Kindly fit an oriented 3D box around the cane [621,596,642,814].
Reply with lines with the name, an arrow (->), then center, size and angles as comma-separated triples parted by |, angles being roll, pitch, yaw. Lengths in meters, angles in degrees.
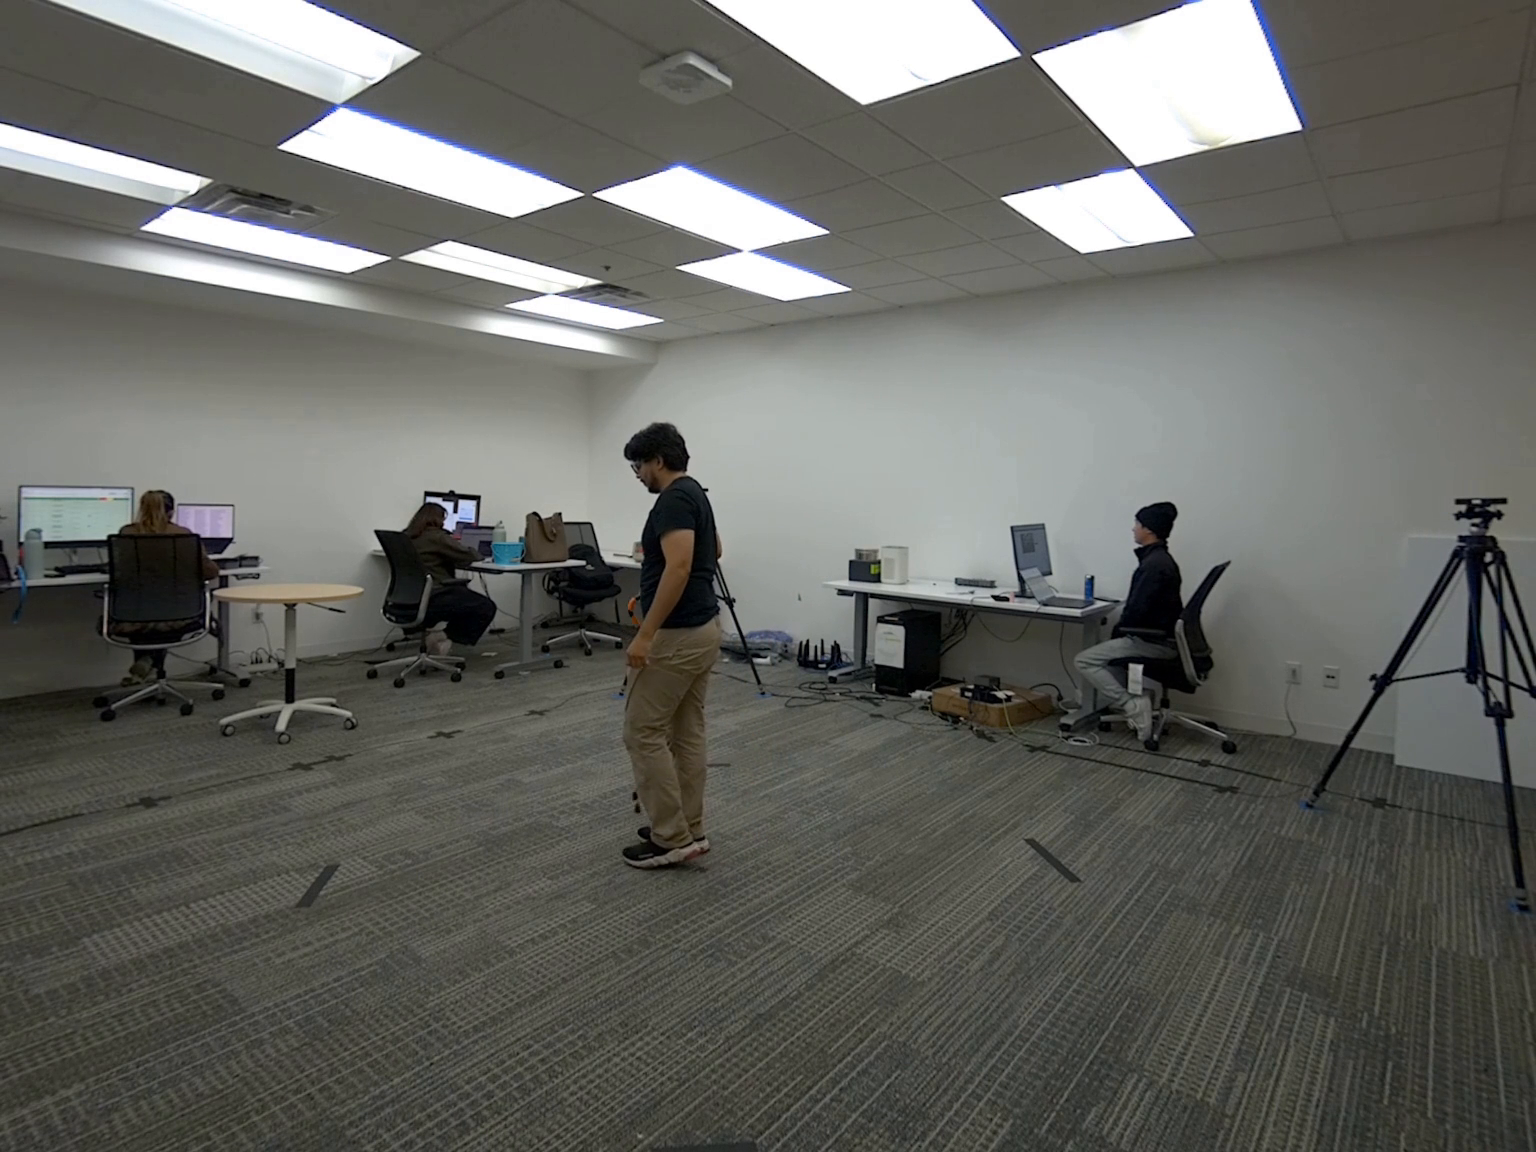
cane -> -0.500, 0.514, 3.528 | 0.204, 0.901, 0.154 | -5, 8, -10
